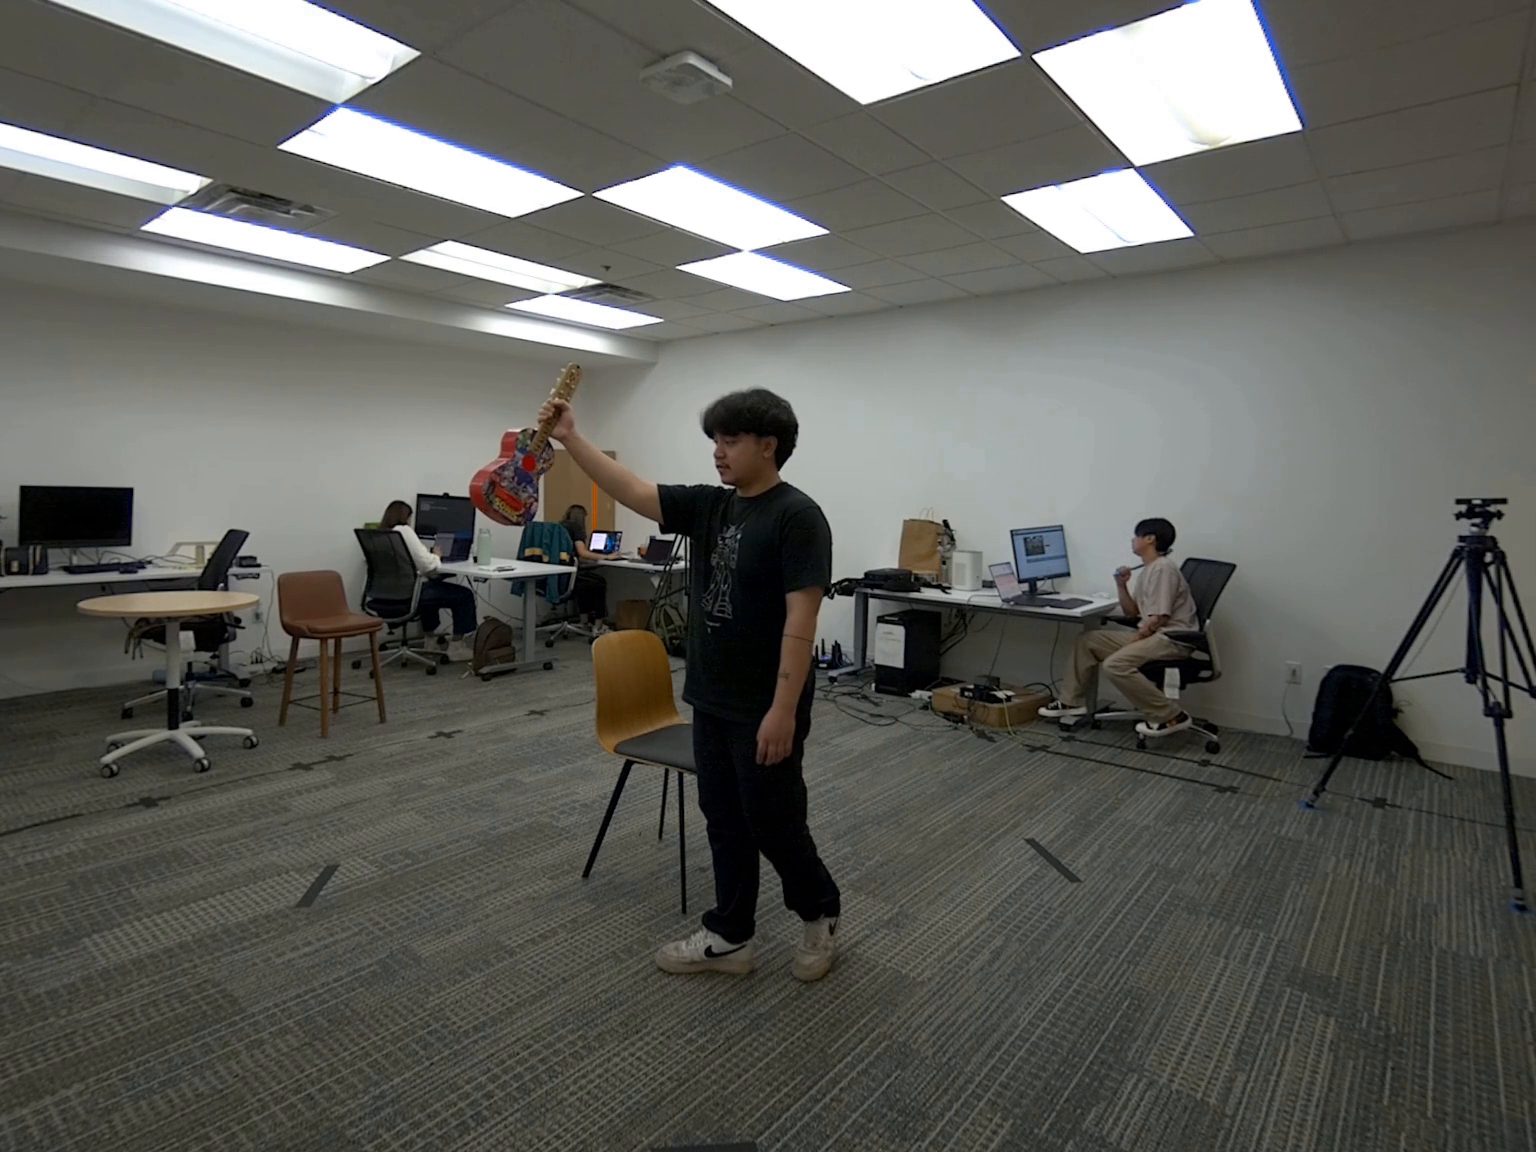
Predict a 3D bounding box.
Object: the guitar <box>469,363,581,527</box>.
[{"bbox_3d":[-0.638,-0.361,2.385,0.073,0.502,0.185,6,-29,37],"label":"guitar"}]
